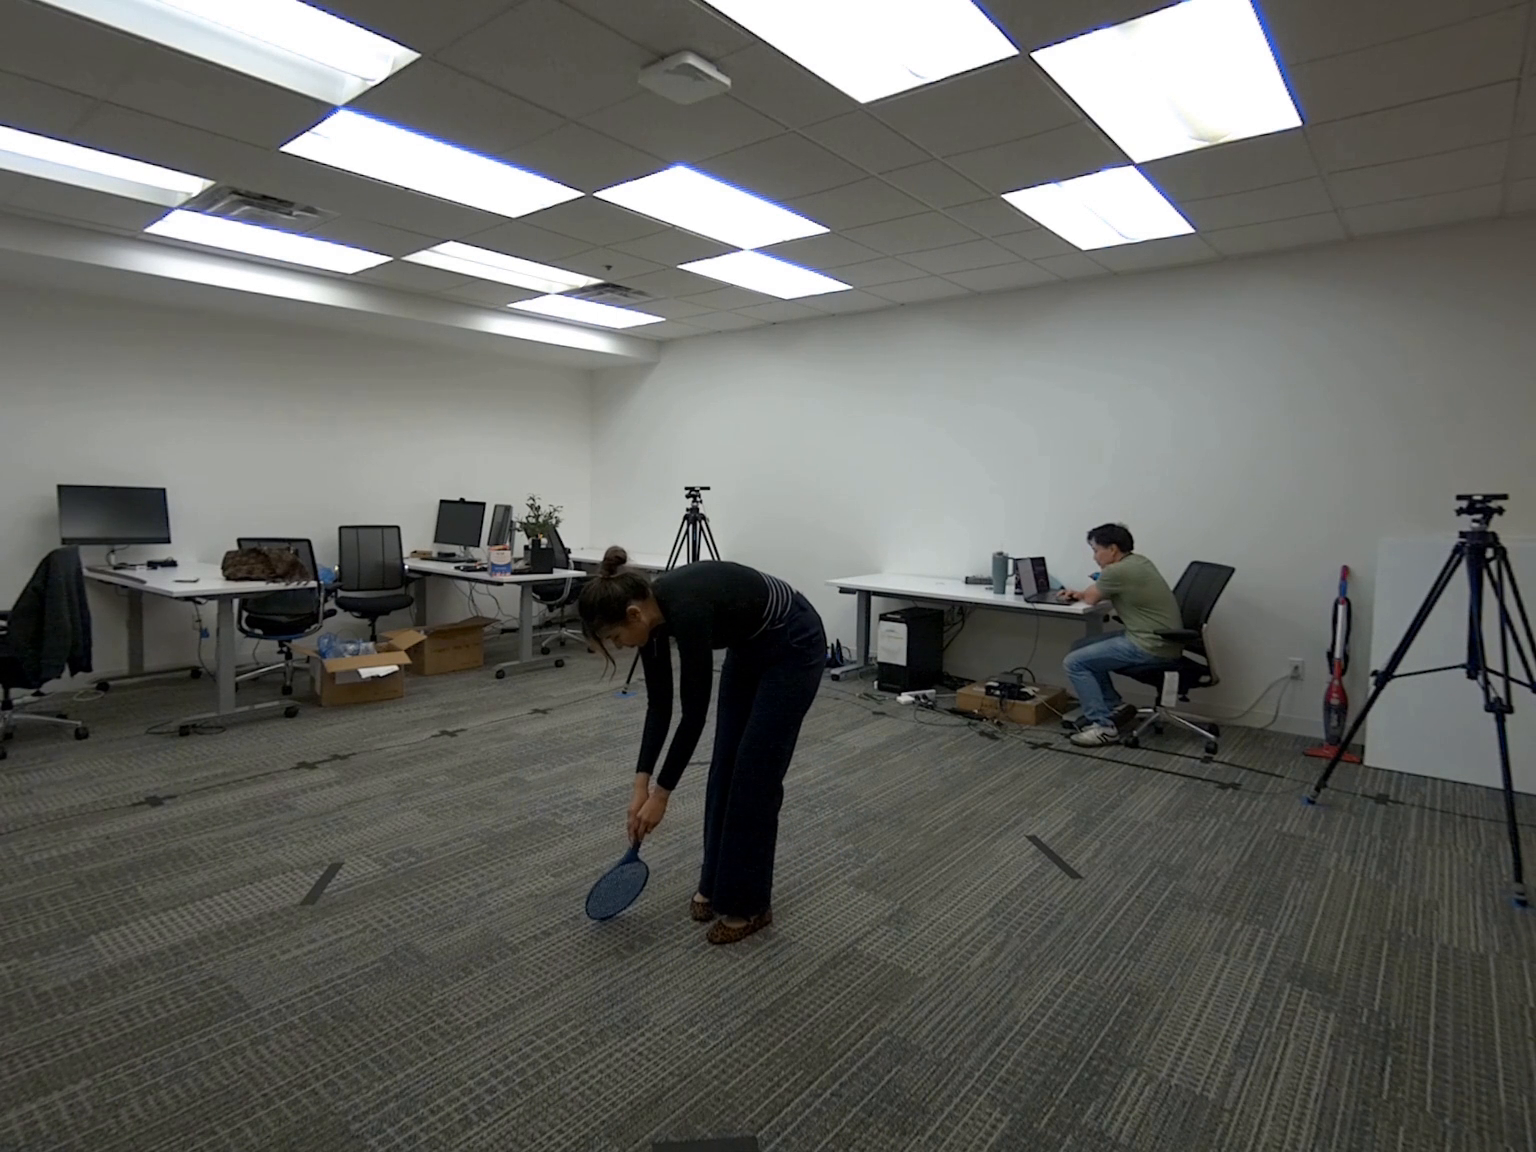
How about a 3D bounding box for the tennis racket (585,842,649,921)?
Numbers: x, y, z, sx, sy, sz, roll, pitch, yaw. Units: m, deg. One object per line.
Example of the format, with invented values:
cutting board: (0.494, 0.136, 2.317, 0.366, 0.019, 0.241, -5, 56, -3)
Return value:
tennis racket: (-0.461, 0.916, 2.634, 0.207, 0.427, 0.033, 0, 32, -36)
